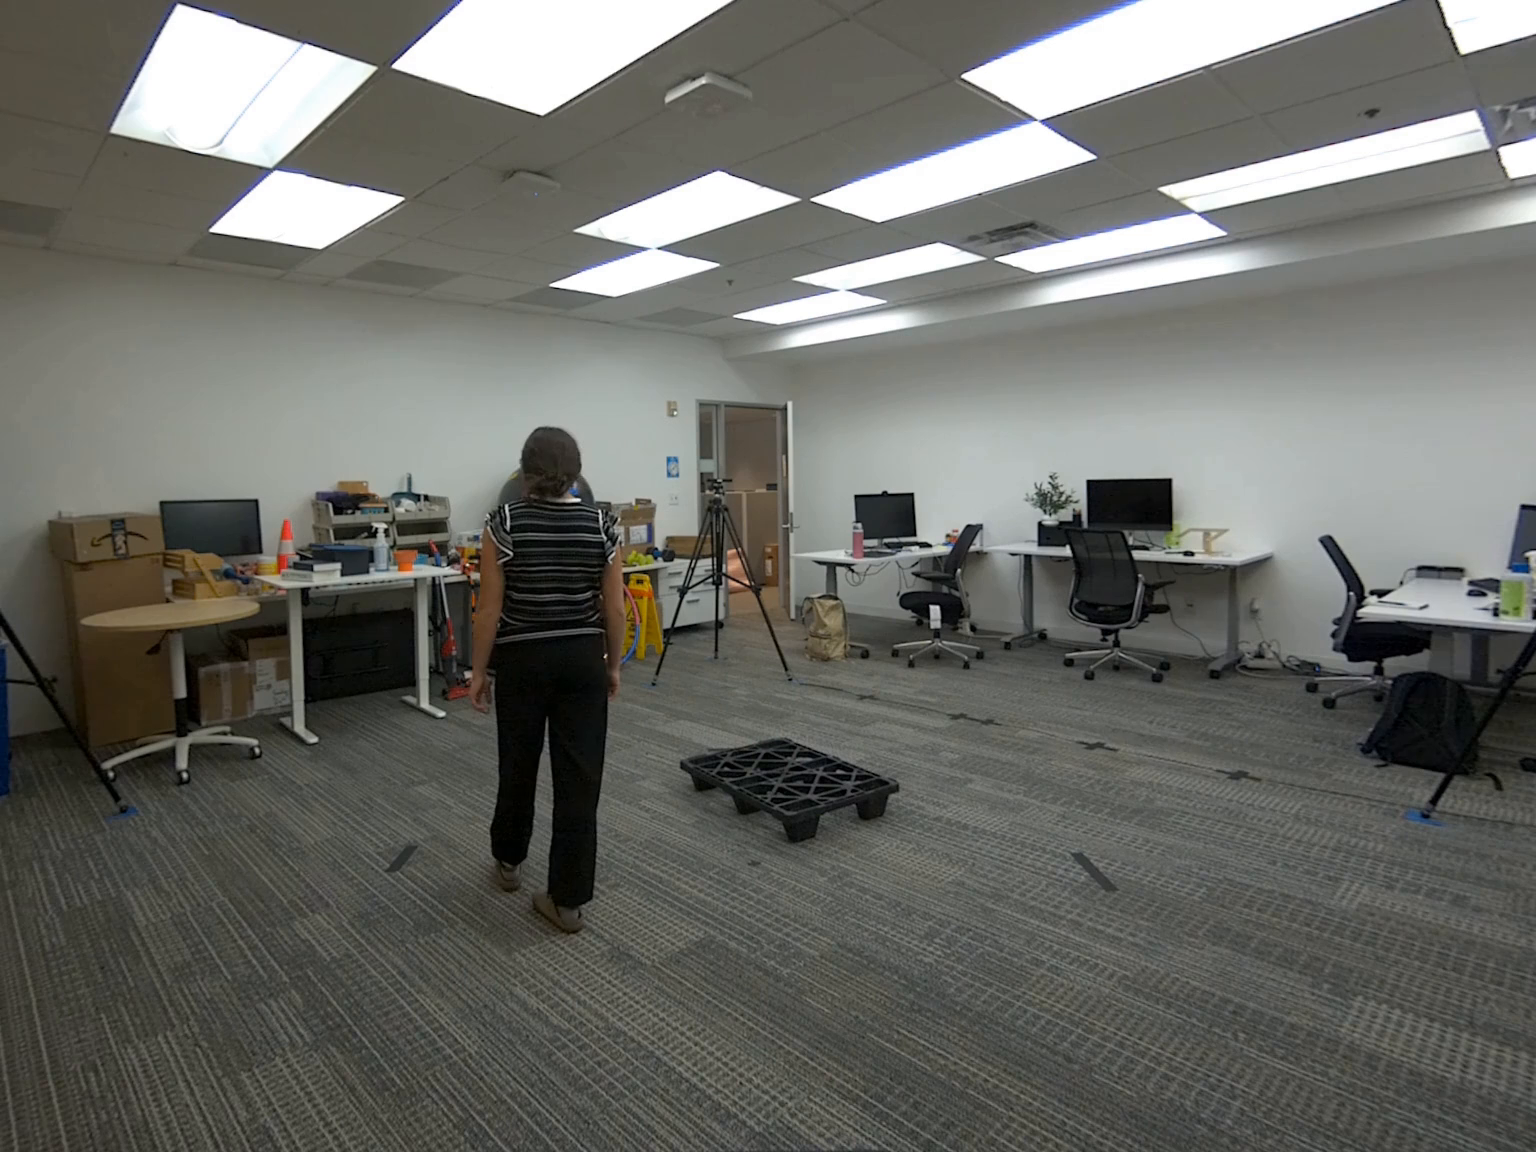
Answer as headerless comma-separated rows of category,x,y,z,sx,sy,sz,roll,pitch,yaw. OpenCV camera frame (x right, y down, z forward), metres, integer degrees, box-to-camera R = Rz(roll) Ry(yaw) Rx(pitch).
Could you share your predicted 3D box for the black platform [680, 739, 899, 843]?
black platform,0.077,0.909,3.704,0.590,0.143,0.830,-4,7,-35
